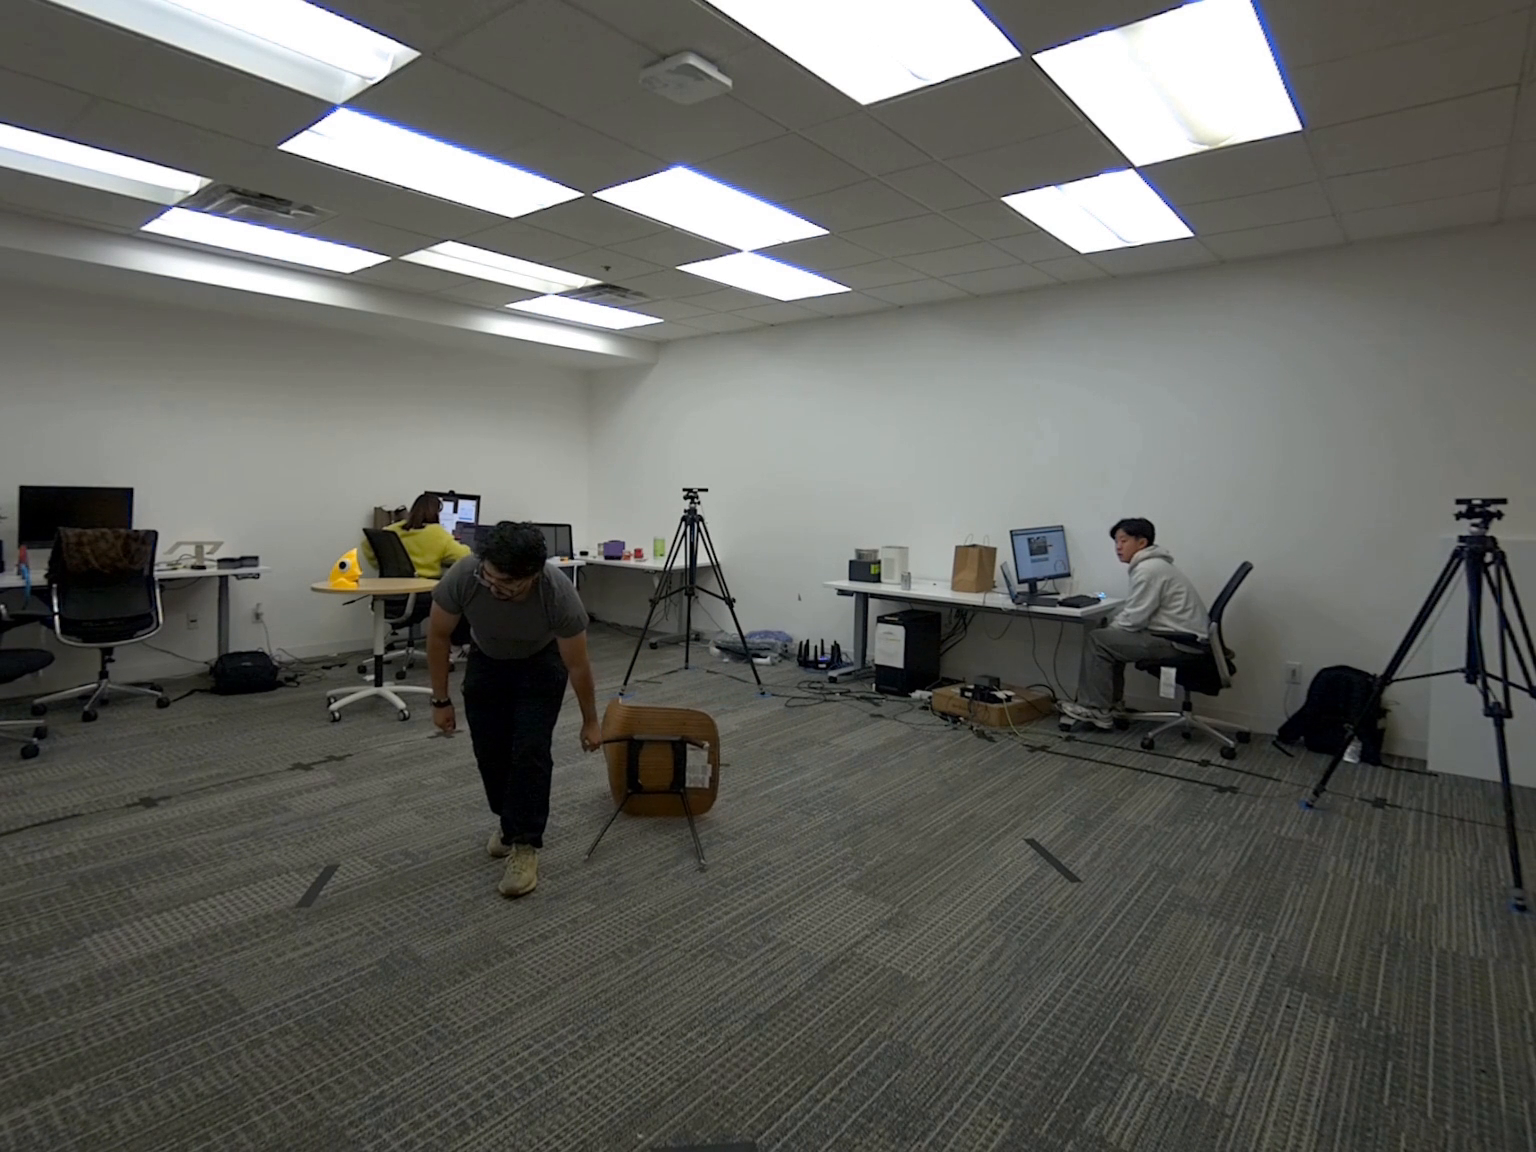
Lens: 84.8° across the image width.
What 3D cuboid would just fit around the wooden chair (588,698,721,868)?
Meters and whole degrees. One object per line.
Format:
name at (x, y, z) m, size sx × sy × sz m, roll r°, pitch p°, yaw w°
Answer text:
wooden chair at (-0.475, 0.792, 3.551) m, size 0.520 × 0.476 × 0.885 m, roll 1°, pitch 5°, yaw -6°
